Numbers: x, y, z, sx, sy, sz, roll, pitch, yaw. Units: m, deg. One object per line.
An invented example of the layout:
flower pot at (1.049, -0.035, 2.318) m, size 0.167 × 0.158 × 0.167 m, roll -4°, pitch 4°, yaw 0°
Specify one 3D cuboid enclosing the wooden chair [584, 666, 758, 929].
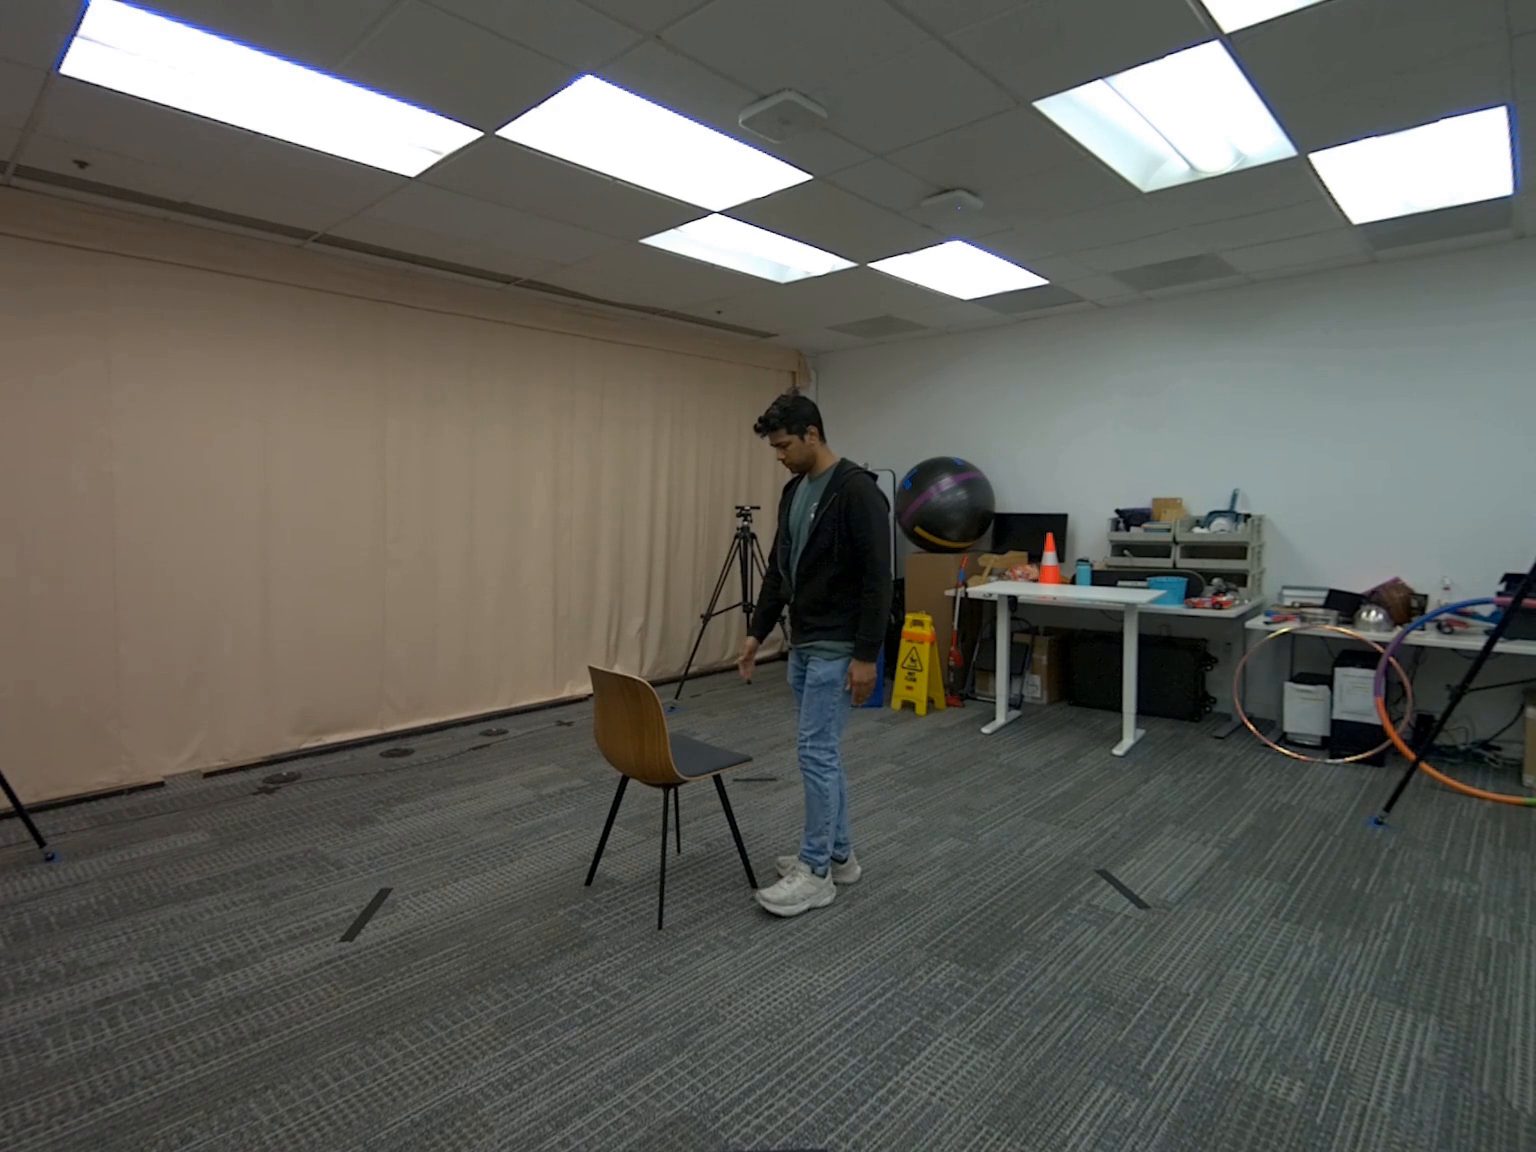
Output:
wooden chair at (-0.350, 0.716, 3.057) m, size 0.508 × 0.874 × 0.494 m, roll -9°, pitch 8°, yaw -43°
